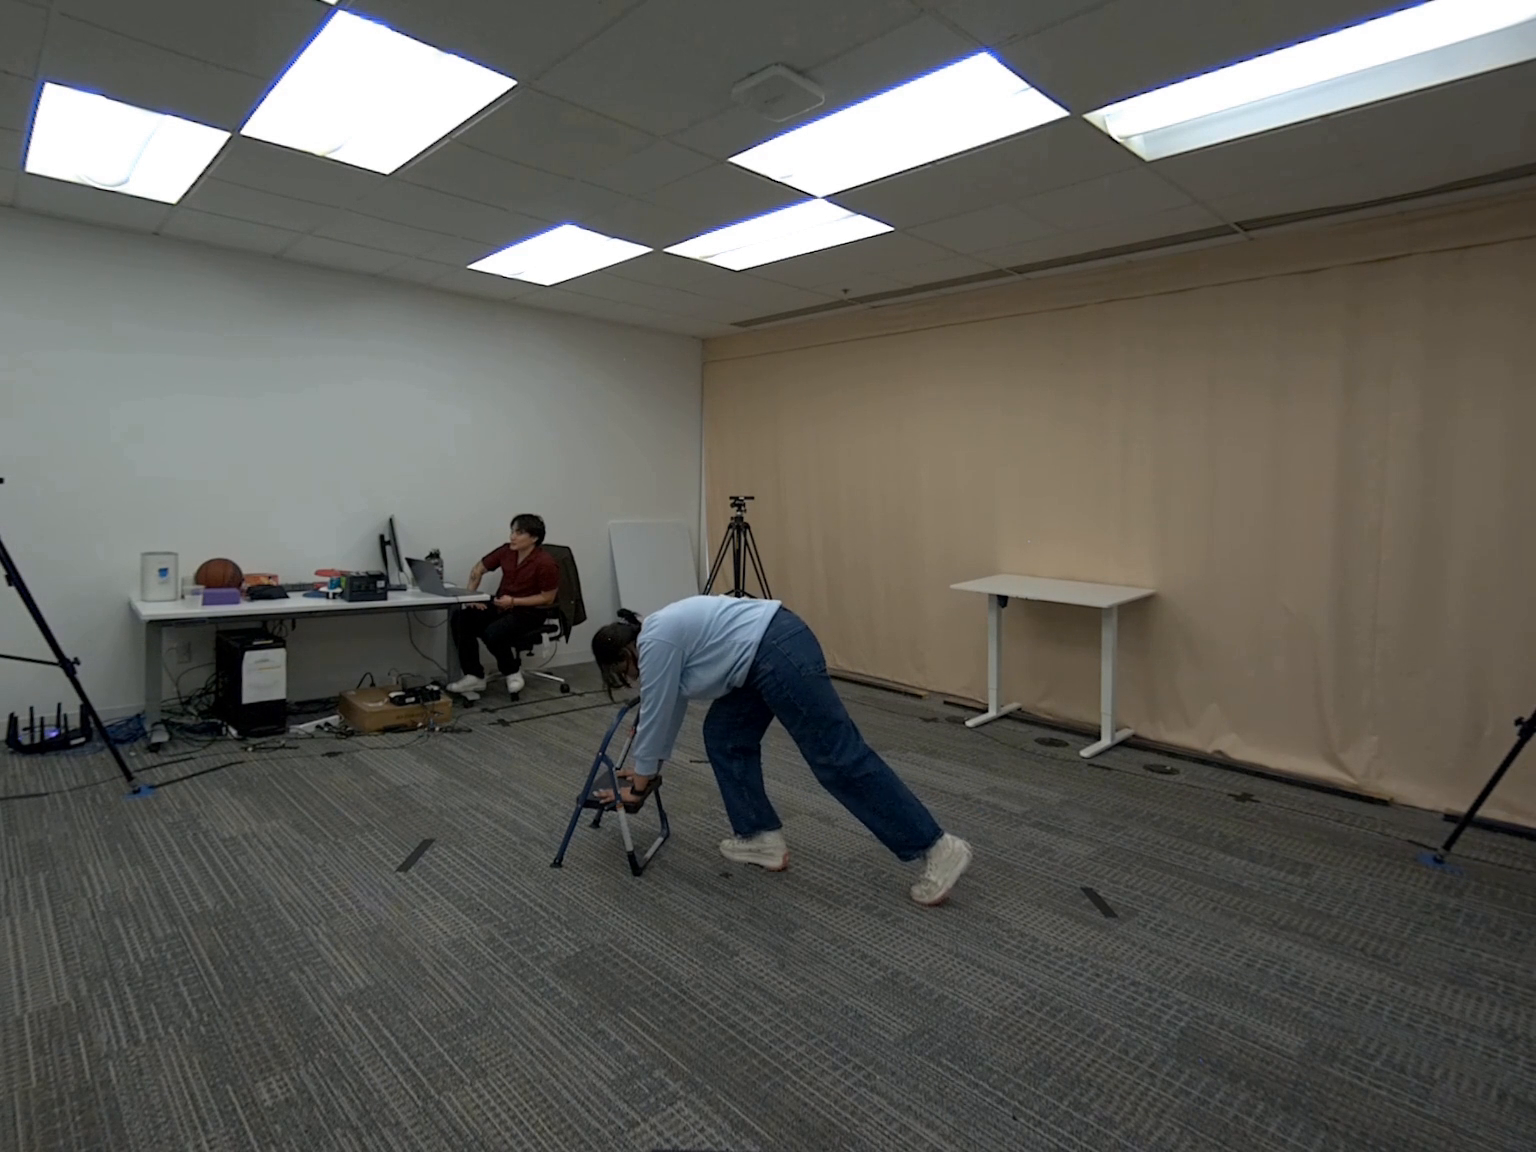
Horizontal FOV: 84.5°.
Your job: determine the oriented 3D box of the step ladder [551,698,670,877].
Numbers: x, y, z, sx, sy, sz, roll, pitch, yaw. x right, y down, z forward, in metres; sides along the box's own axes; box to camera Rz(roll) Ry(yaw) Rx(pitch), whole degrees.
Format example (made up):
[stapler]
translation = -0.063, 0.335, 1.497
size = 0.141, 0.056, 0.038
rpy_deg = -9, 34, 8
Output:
[step ladder]
translation = -0.604, 0.773, 3.290
size = 0.352, 0.604, 0.428
rpy_deg = 2, 4, 10
